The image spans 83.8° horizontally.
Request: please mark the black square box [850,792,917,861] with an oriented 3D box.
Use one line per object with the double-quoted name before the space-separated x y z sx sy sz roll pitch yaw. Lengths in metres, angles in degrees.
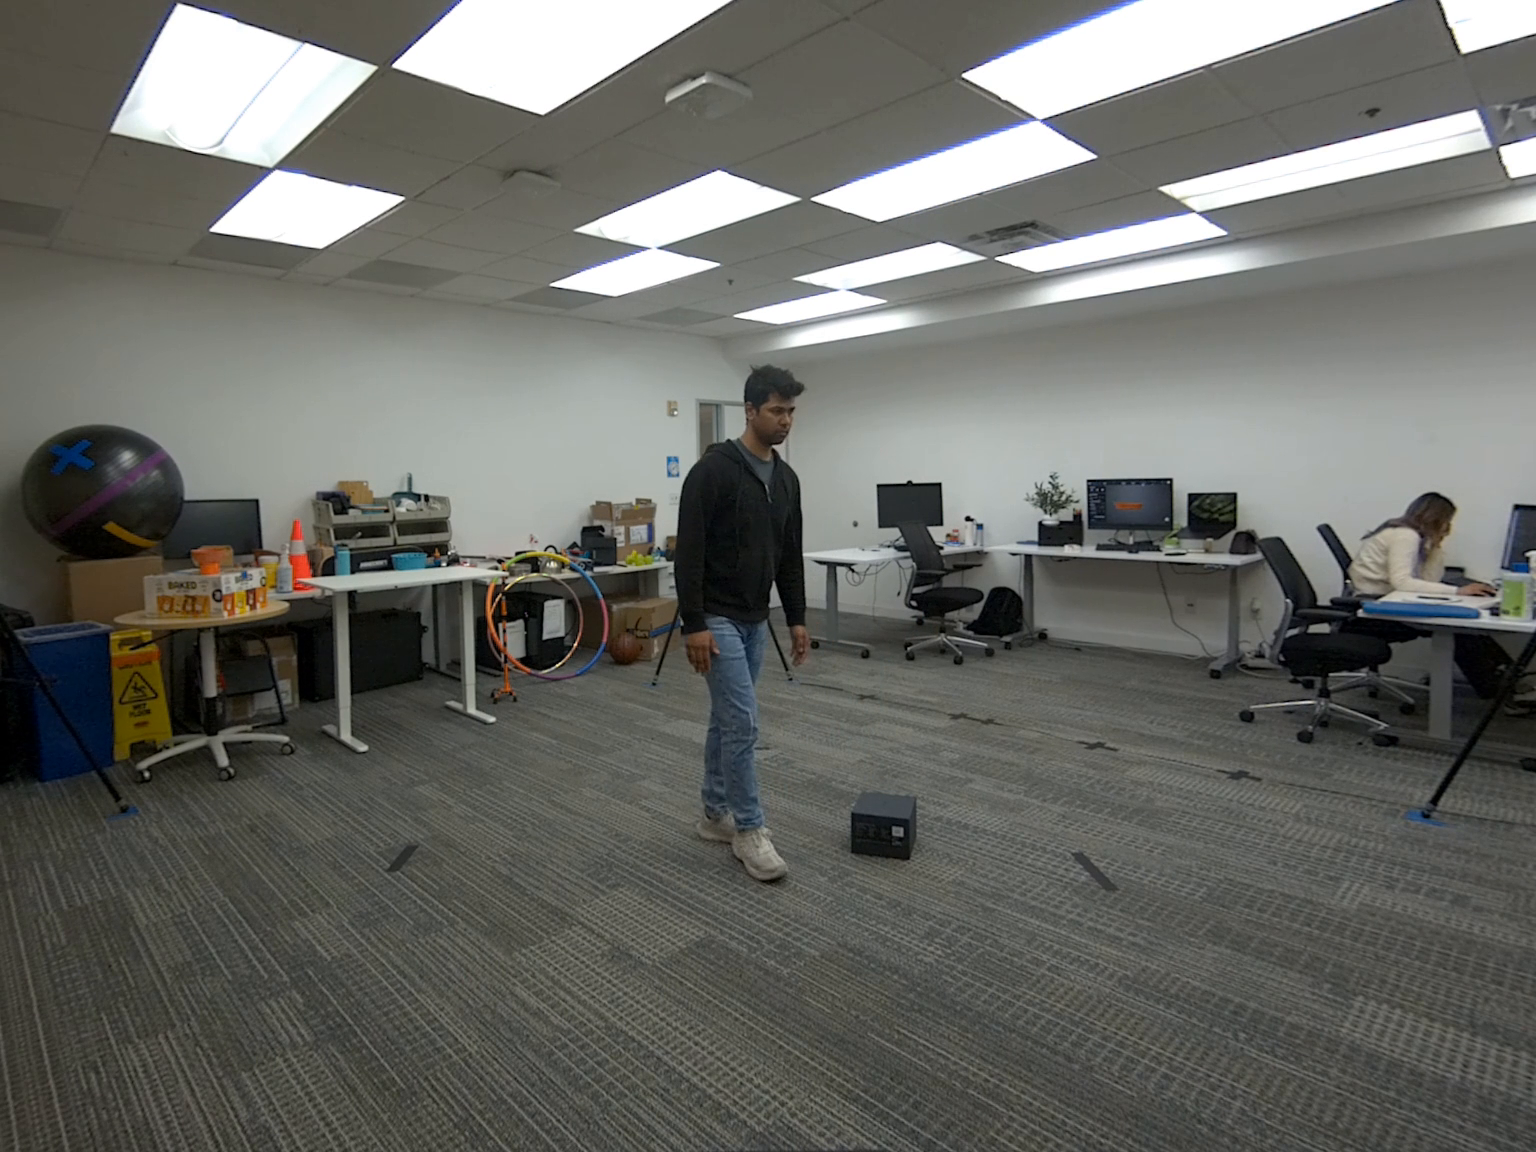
"black square box" 0.442 0.934 3.236 0.221 0.155 0.225 0 5 17
